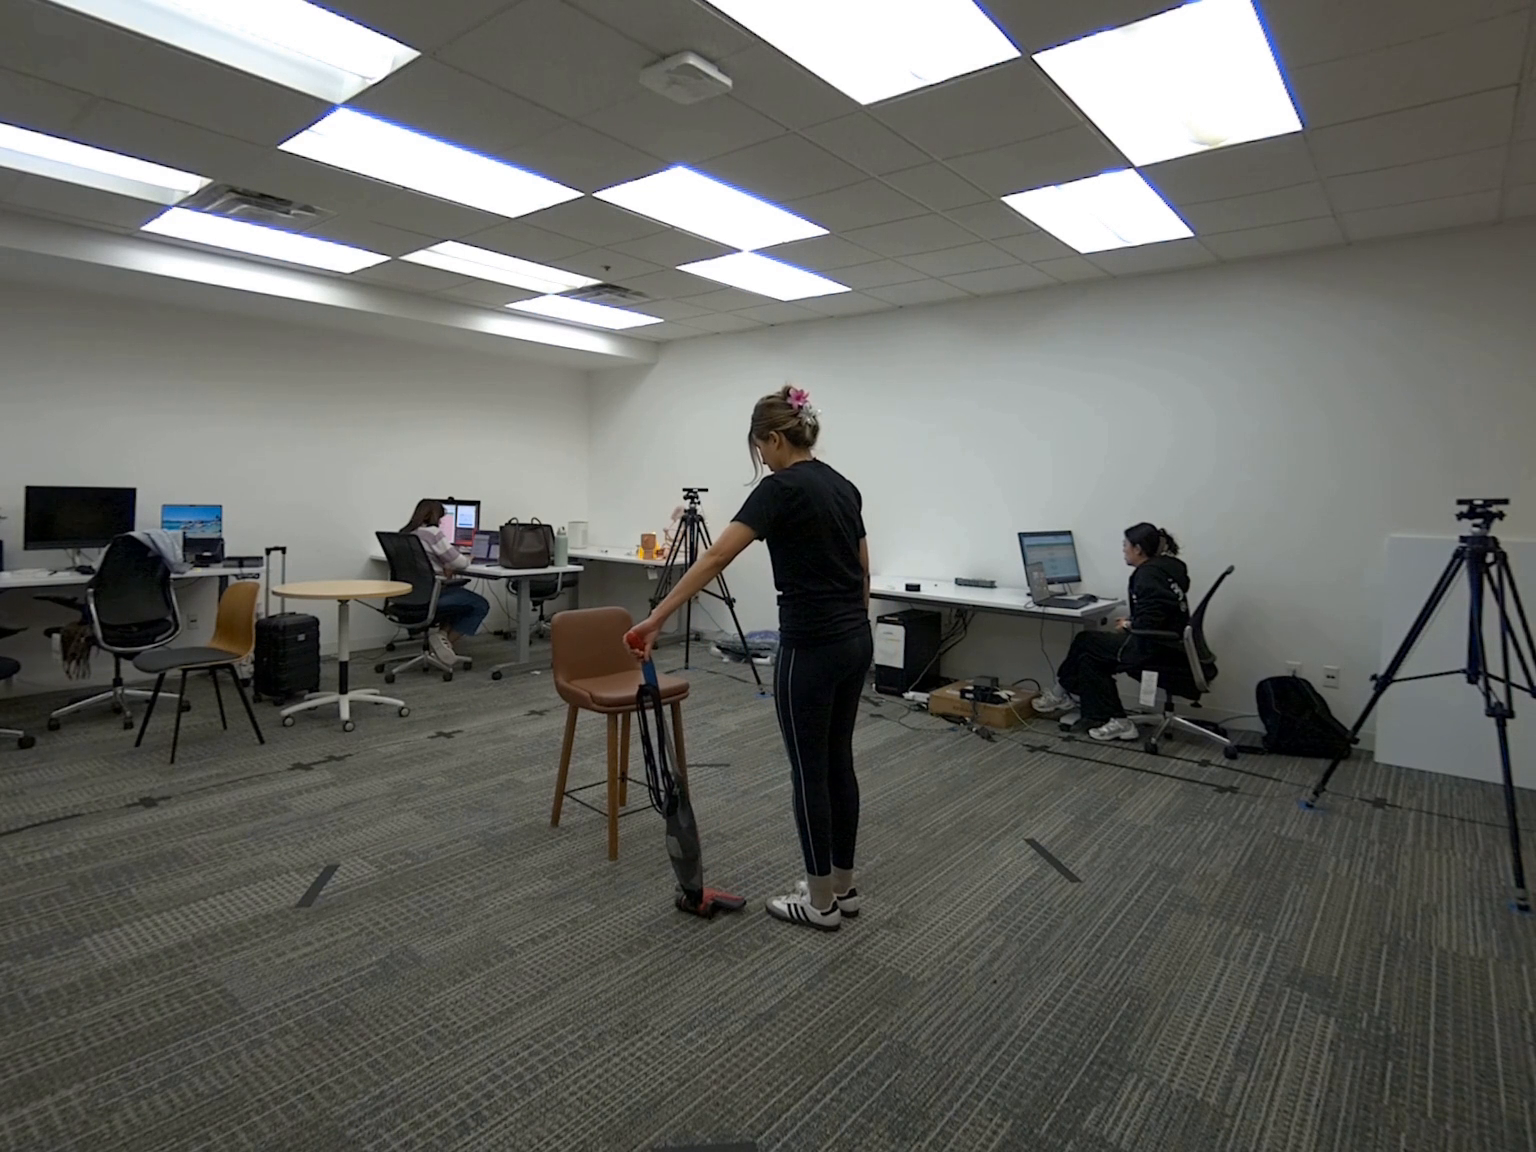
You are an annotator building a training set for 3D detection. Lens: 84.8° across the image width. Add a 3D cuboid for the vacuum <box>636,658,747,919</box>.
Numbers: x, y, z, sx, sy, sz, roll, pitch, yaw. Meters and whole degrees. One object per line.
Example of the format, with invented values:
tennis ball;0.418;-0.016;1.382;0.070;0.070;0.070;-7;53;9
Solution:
vacuum;-0.308;0.639;2.622;0.260;1.021;0.143;5;30;32
